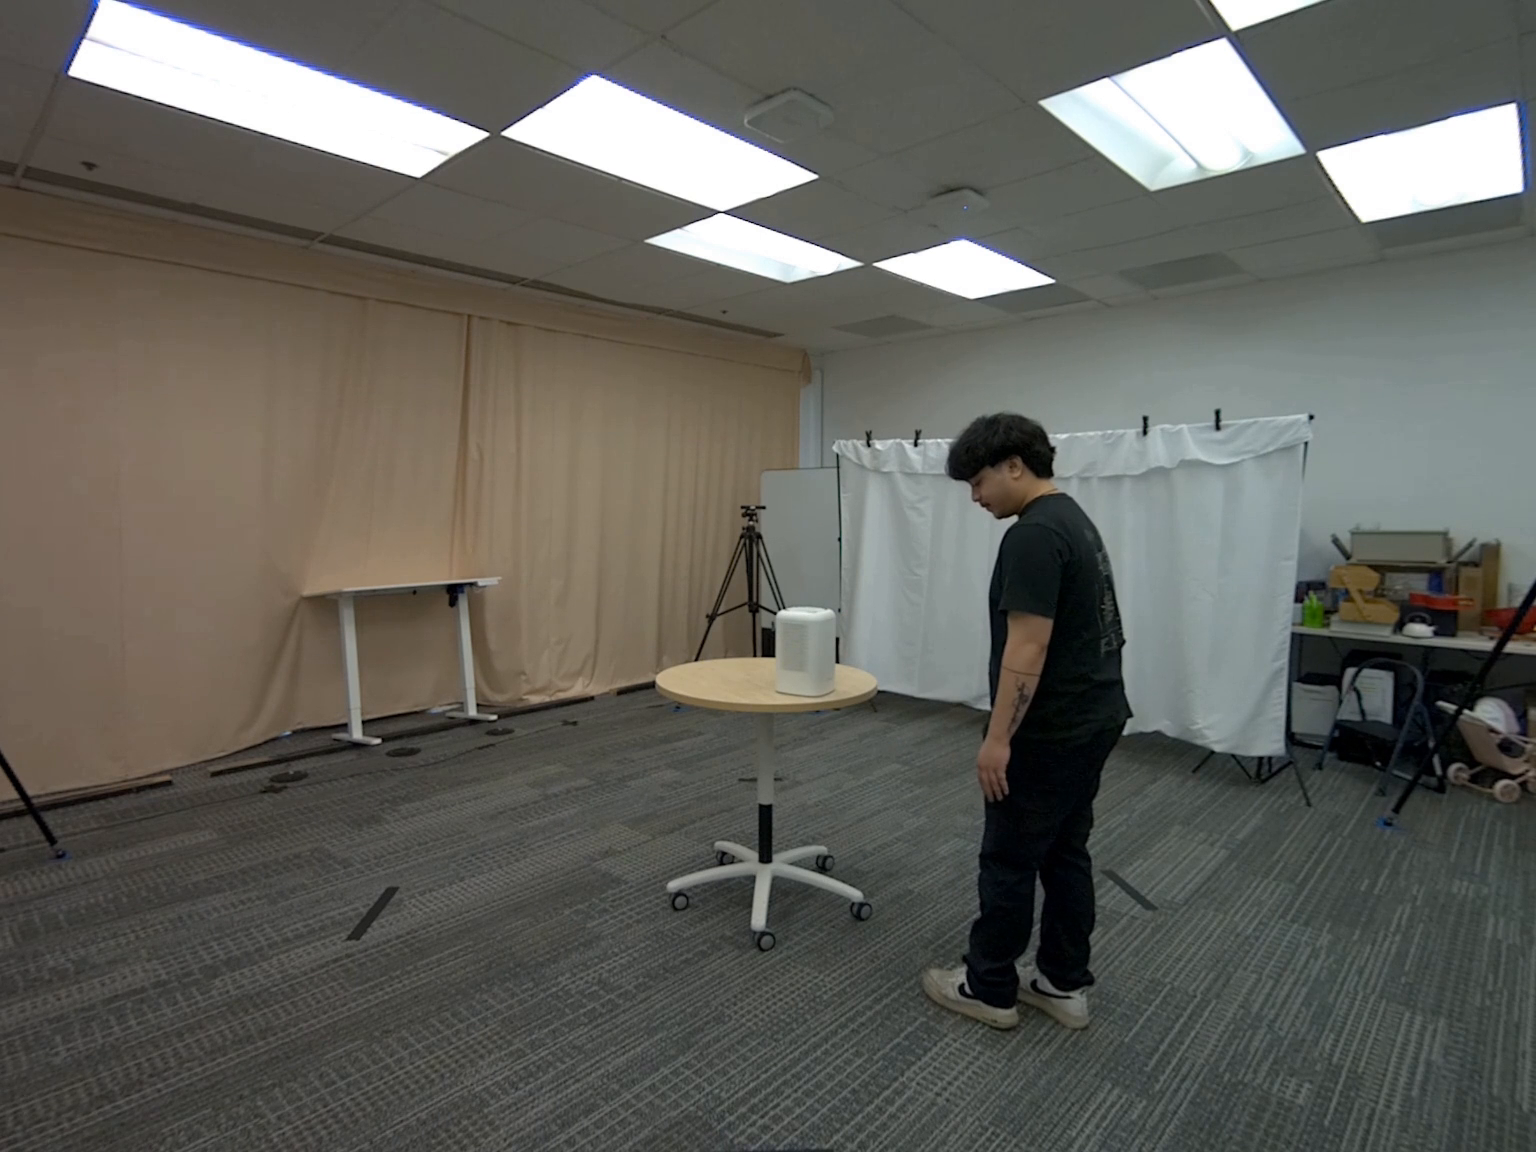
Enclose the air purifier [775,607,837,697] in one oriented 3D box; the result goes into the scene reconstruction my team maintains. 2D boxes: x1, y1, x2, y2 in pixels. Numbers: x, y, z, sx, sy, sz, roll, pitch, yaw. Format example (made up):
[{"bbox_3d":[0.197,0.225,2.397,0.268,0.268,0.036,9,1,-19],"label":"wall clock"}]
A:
[{"bbox_3d":[0.126,0.239,2.723,0.176,0.264,0.167,4,5,29],"label":"air purifier"}]
